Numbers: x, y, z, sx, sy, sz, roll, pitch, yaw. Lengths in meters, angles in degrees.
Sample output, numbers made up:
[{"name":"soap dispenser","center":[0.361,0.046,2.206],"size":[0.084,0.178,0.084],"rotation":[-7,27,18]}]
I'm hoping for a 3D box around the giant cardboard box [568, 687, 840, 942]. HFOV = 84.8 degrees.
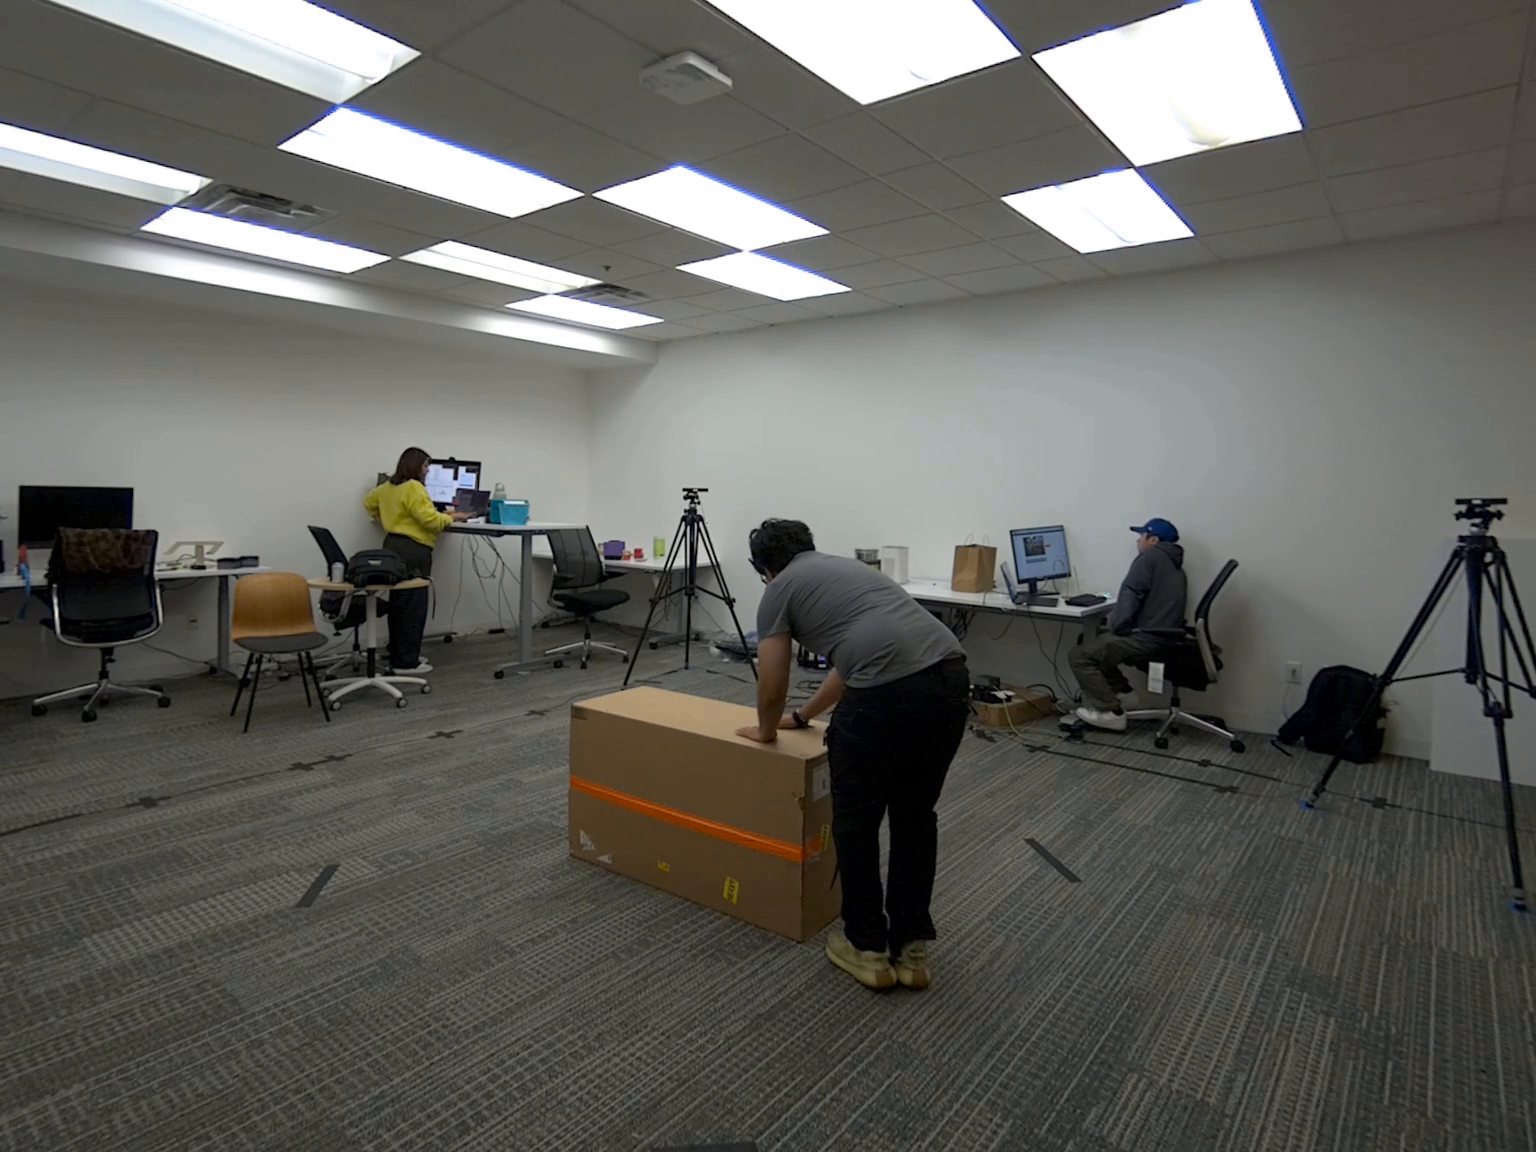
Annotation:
[{"name":"giant cardboard box","center":[-0.217,0.786,3.056],"size":[1.059,0.575,0.414],"rotation":[4,5,35]}]
